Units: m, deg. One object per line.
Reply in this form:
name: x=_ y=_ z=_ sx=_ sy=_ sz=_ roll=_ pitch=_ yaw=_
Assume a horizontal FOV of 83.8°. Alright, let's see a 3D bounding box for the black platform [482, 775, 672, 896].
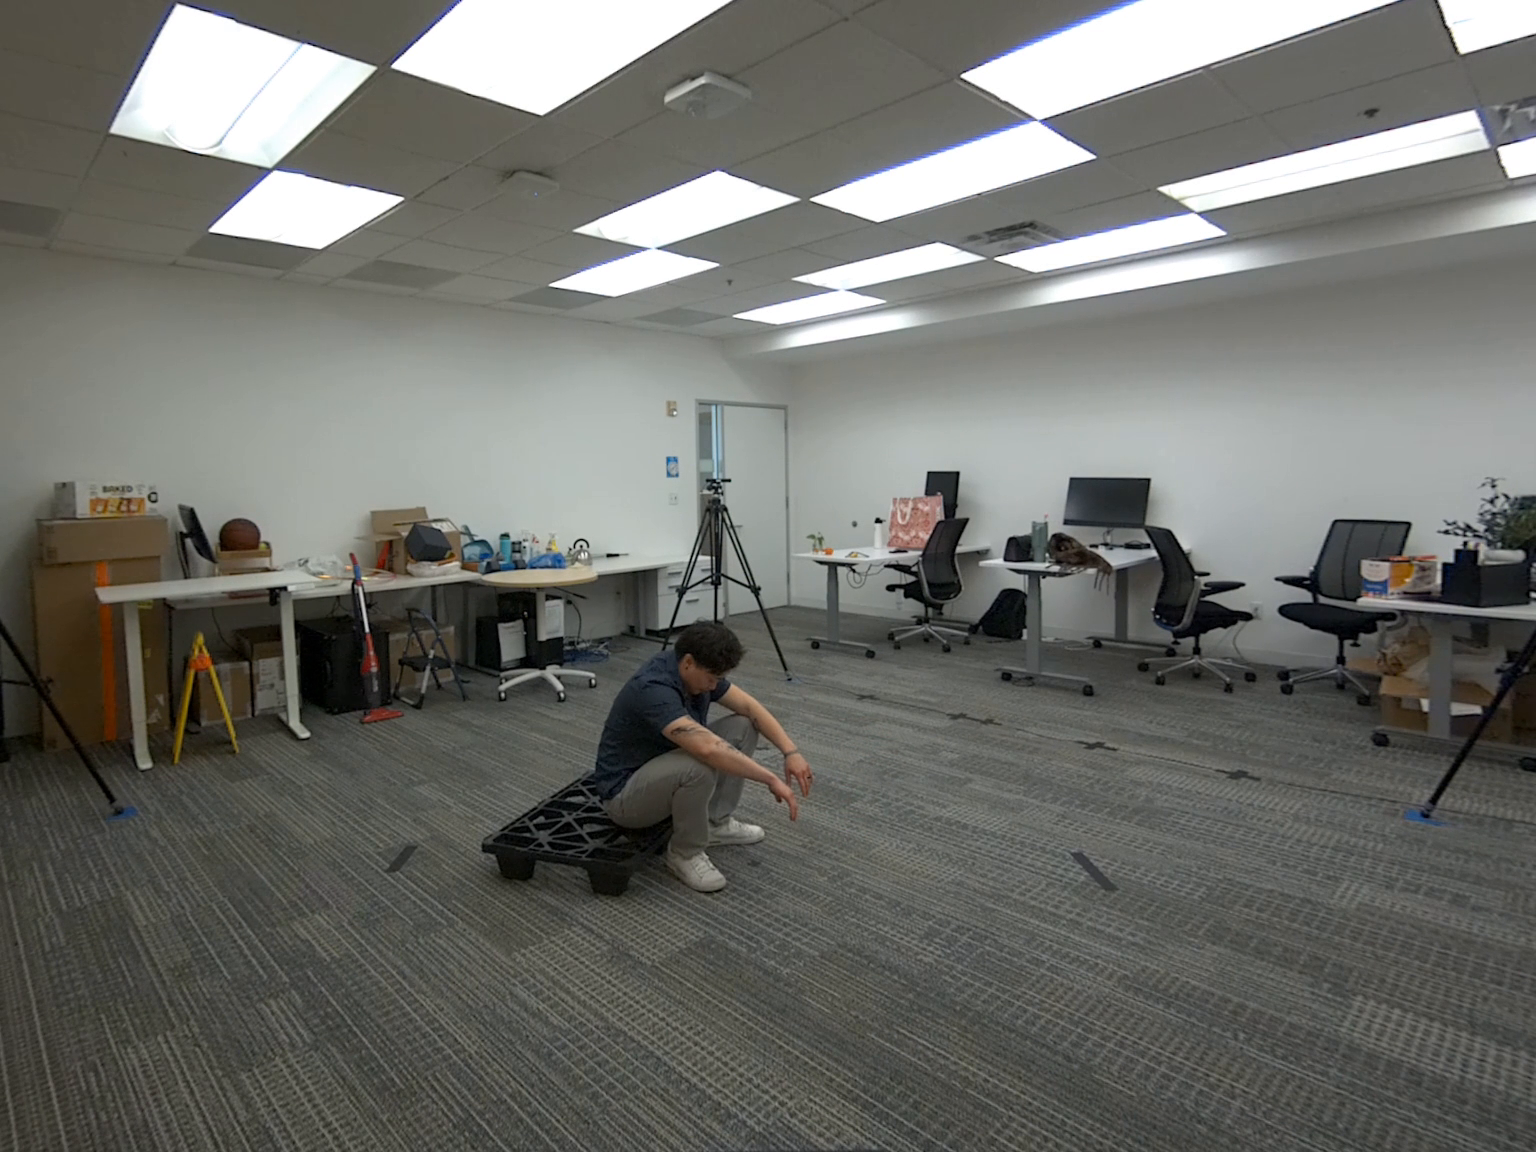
black platform: x=-0.610 y=0.967 z=3.293 sx=0.616 sy=0.143 sz=0.794 roll=2 pitch=7 yaw=18
